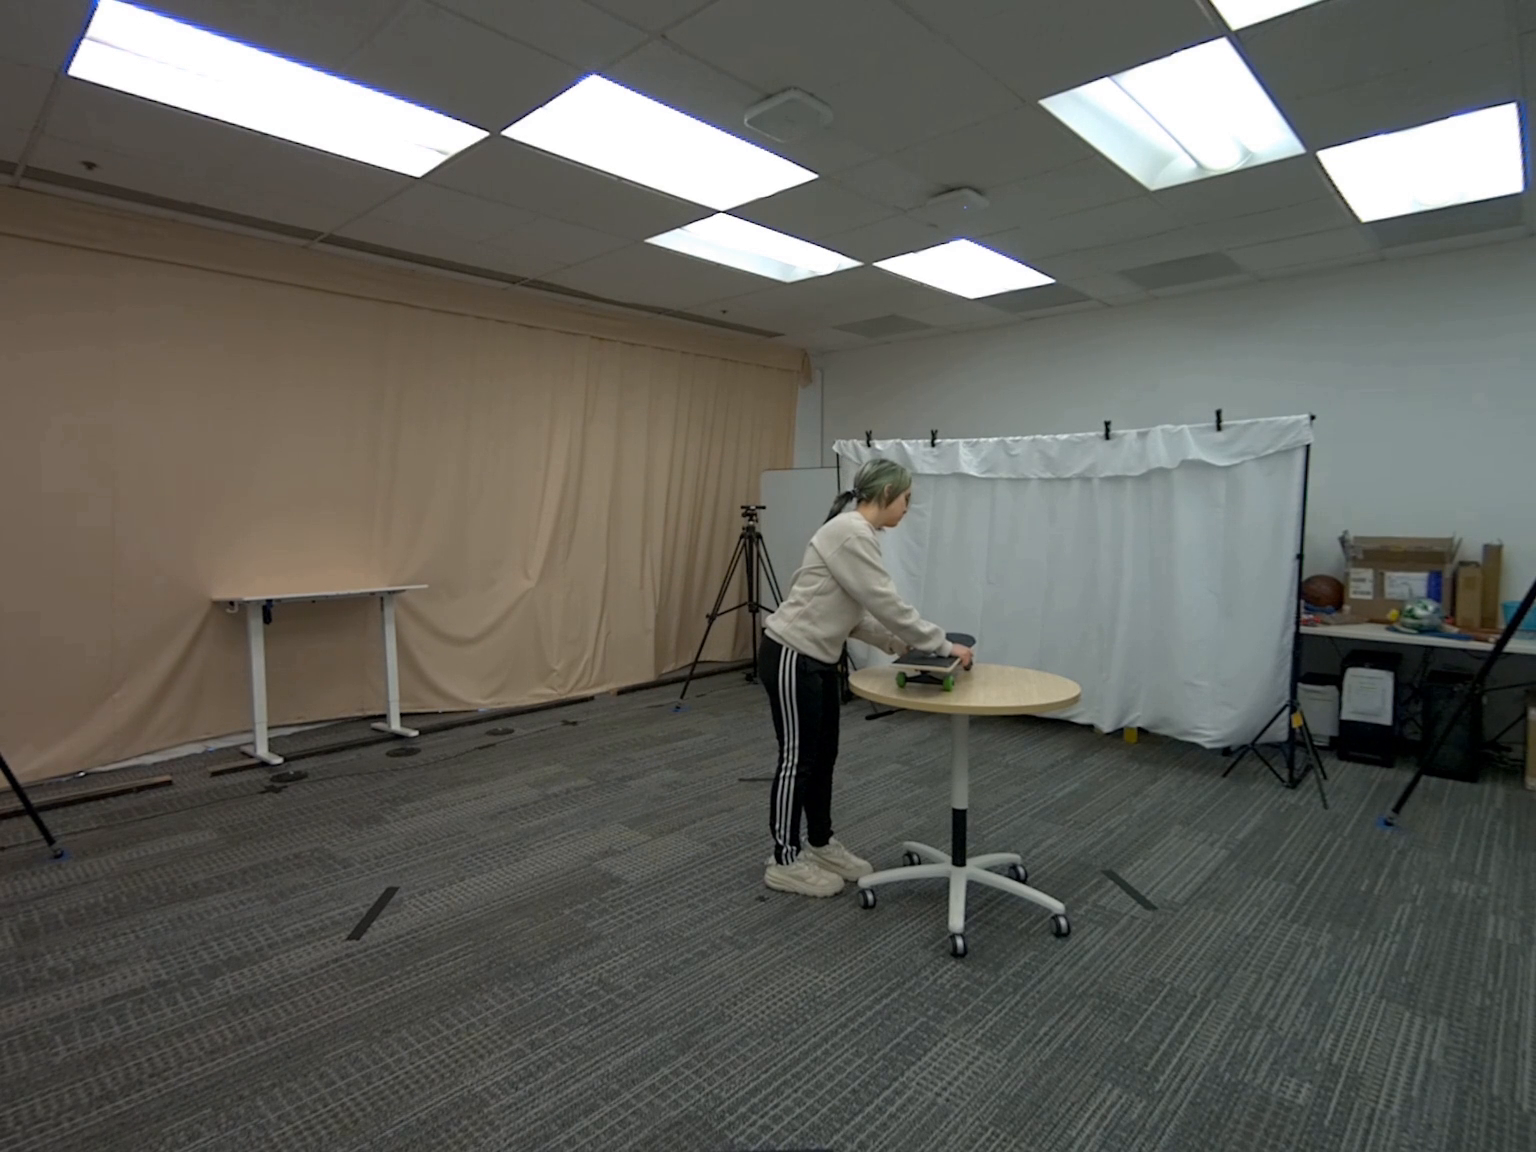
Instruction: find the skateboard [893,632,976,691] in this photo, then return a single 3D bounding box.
[{"bbox_3d":[0.606,0.309,2.950,0.198,0.110,0.768,2,5,23],"label":"skateboard"}]
